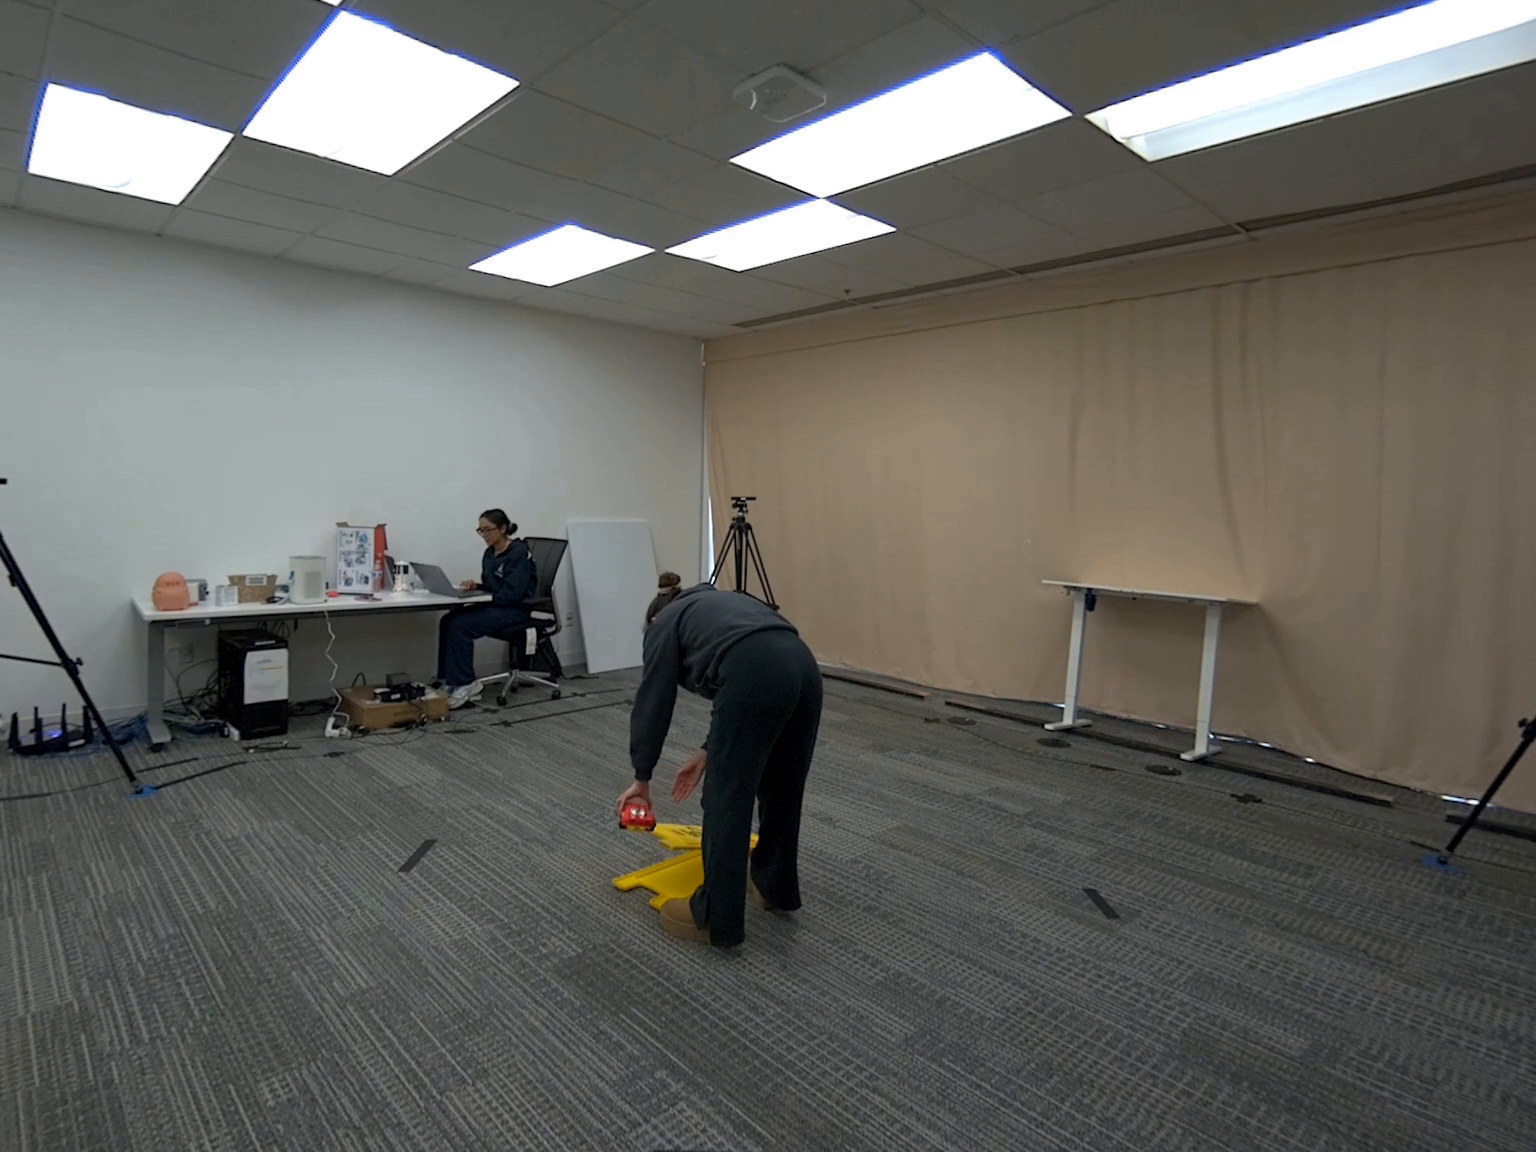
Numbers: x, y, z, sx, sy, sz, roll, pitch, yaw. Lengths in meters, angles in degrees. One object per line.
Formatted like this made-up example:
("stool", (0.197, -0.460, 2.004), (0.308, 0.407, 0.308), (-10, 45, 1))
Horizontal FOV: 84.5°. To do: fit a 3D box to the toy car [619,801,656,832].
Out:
("toy car", (-0.443, 0.812, 2.811), (0.129, 0.084, 0.255), (7, -11, -12))
